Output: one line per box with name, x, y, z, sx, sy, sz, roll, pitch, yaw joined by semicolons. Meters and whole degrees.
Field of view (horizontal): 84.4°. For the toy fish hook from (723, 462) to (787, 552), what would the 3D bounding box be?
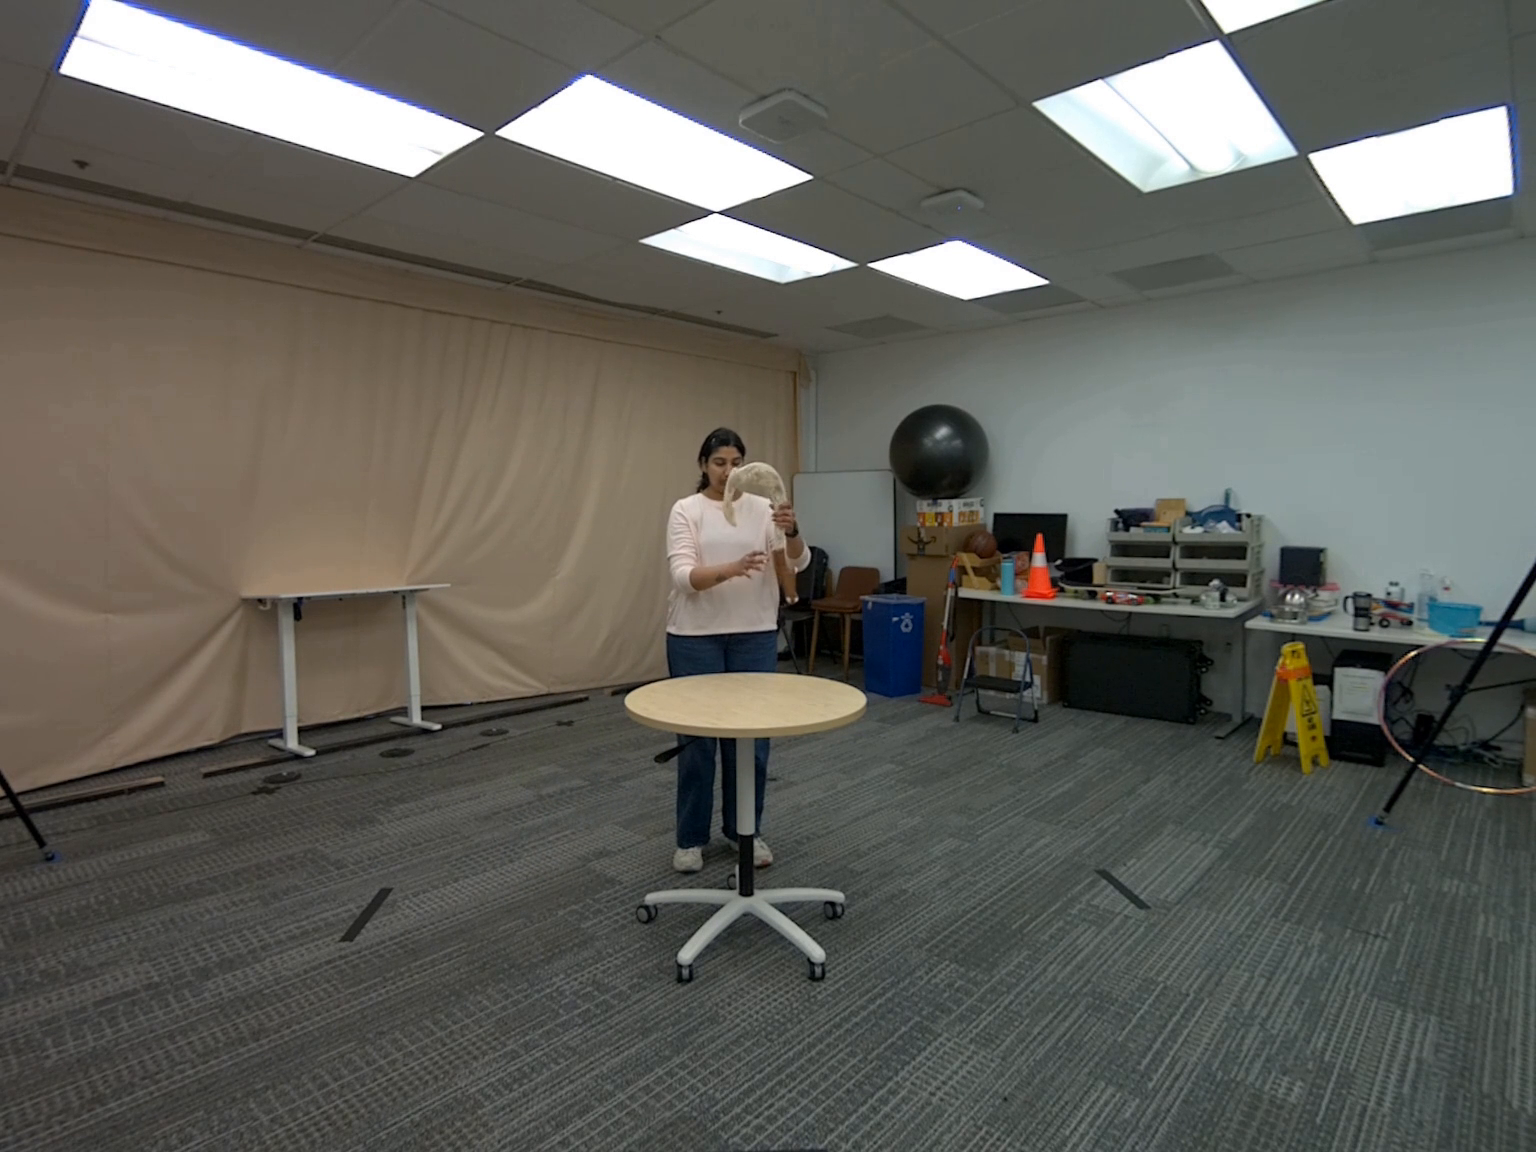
toy fish hook;-0.017;-0.128;2.908;0.223;0.502;0.049;-13;11;-7
